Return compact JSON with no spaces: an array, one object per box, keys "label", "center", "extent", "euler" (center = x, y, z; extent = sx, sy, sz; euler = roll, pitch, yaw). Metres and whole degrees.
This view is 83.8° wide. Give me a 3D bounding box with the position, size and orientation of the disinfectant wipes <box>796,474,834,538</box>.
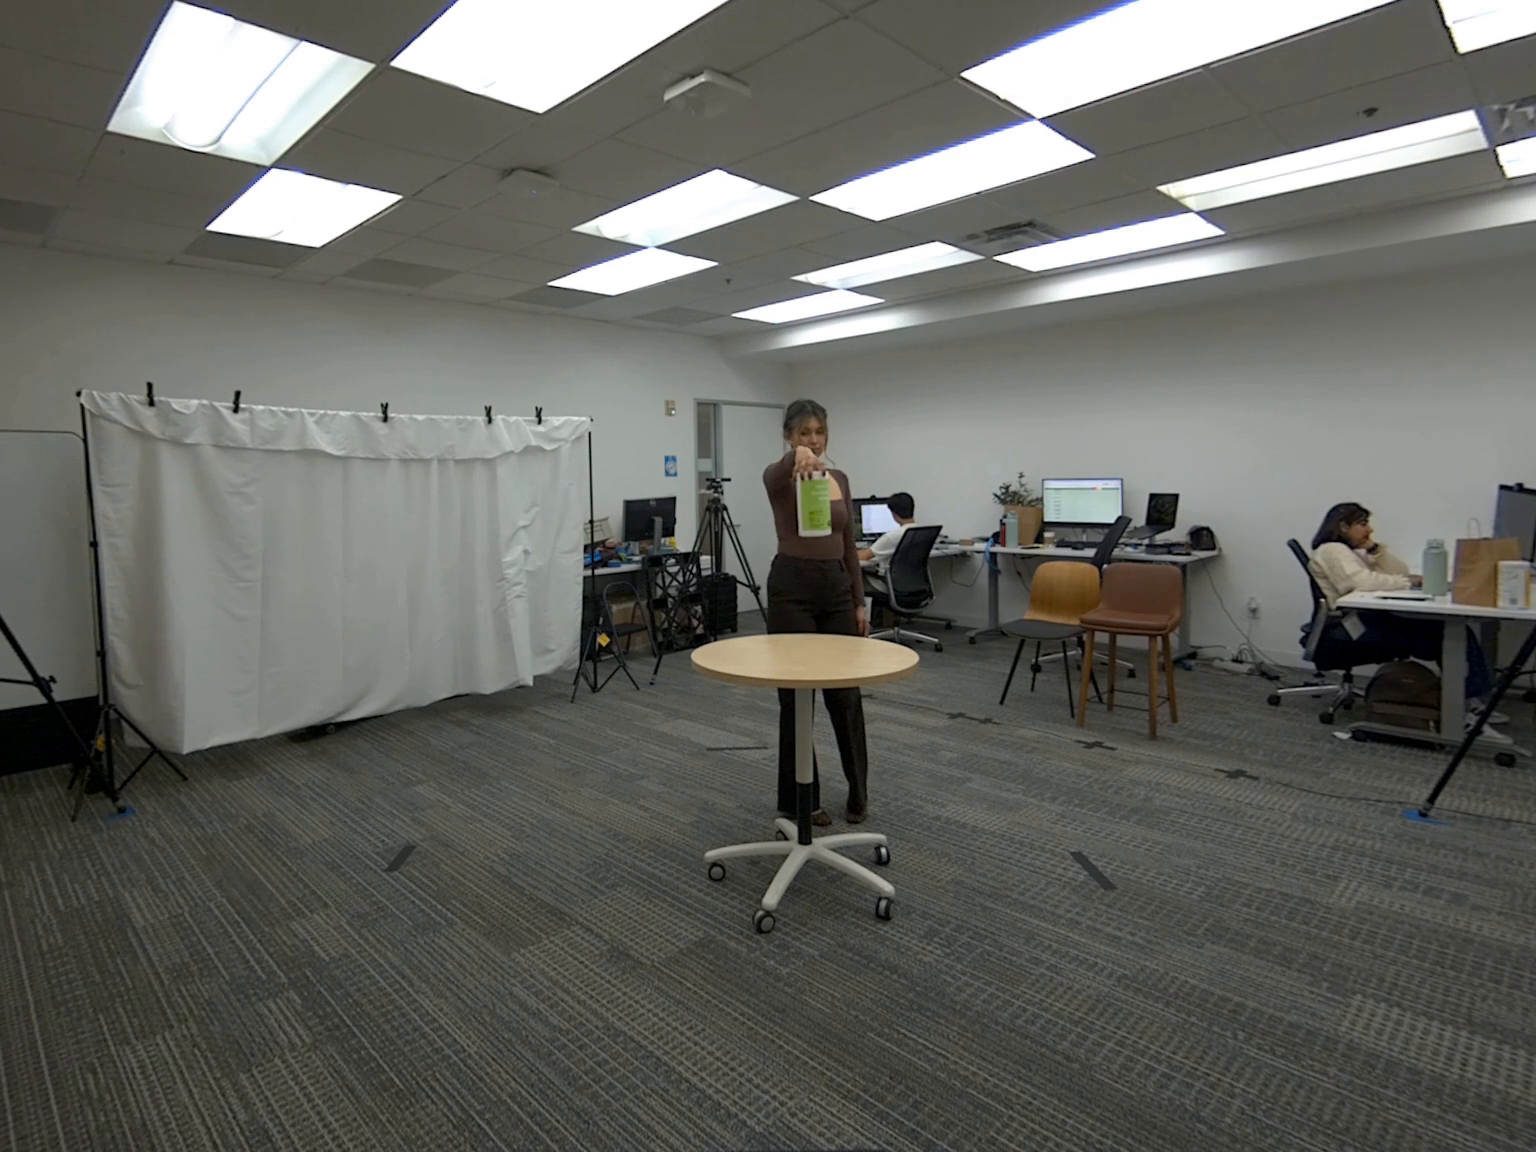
[{"label":"disinfectant wipes","center":[0.154,-0.243,2.868],"extent":[0.118,0.216,0.118],"euler":[-2,6,-1]}]
